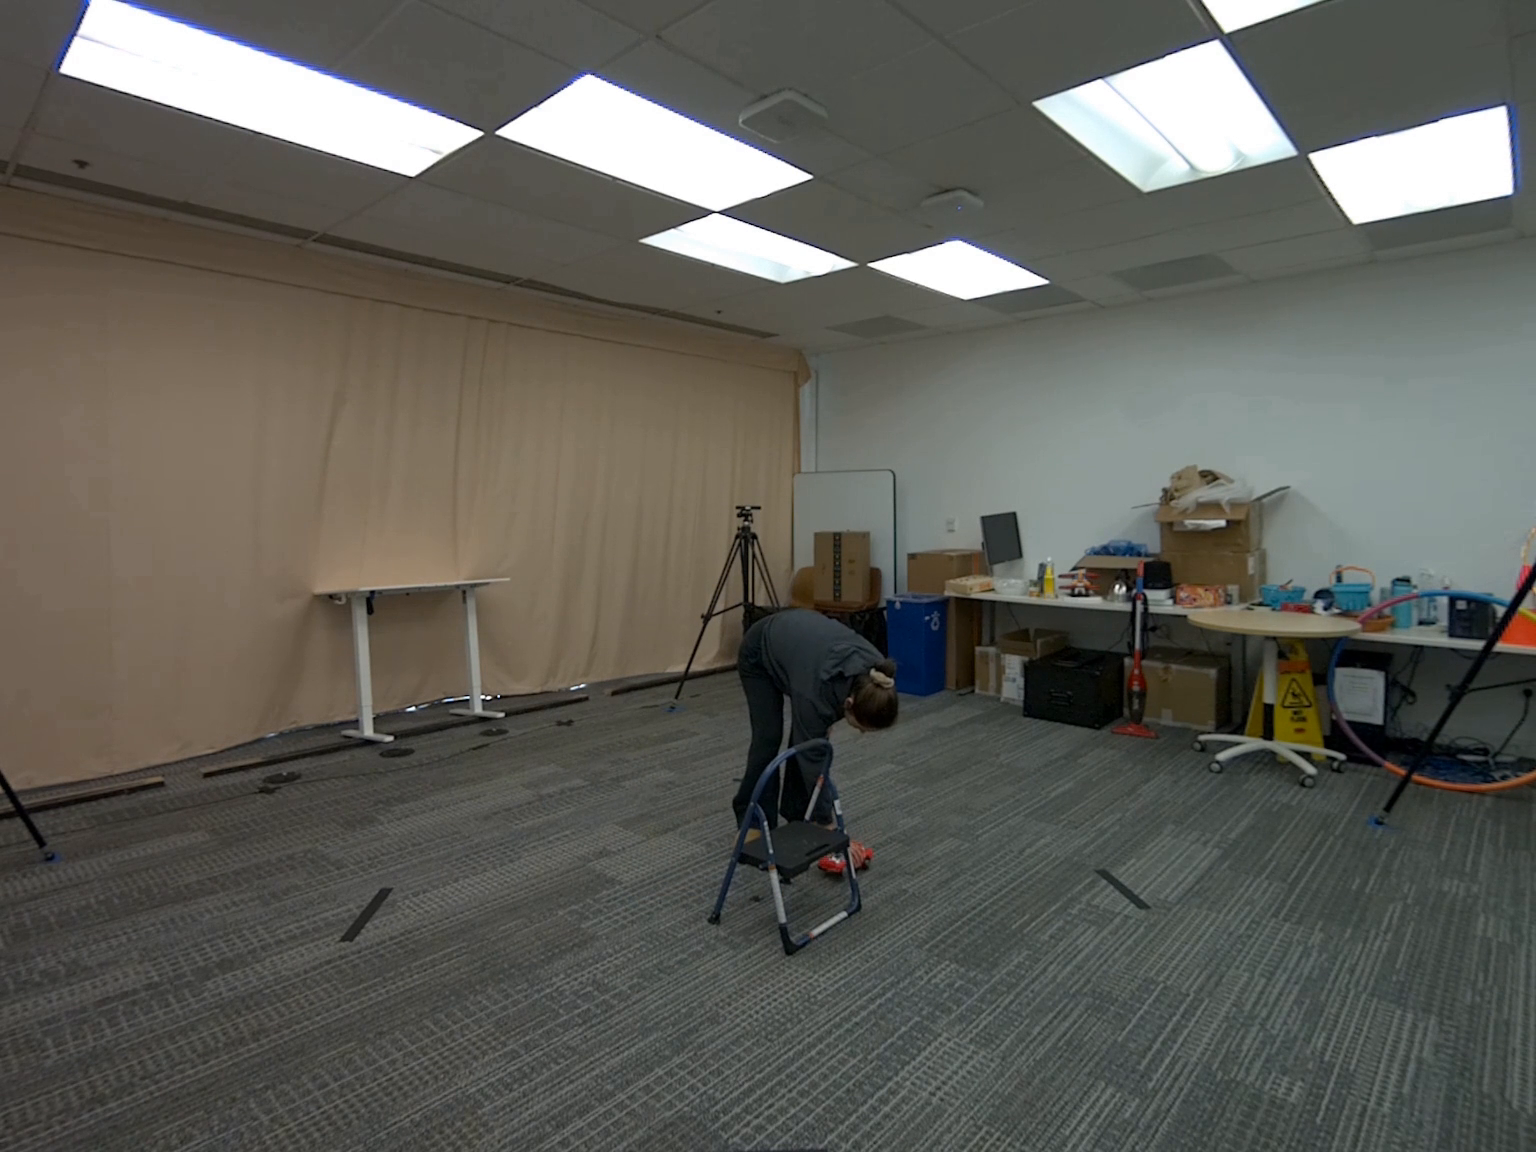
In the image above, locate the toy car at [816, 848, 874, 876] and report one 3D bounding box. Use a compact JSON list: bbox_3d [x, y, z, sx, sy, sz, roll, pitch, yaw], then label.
[{"bbox_3d":[0.329,1.072,3.216,0.134,0.083,0.248,1,10,44],"label":"toy car"}]
